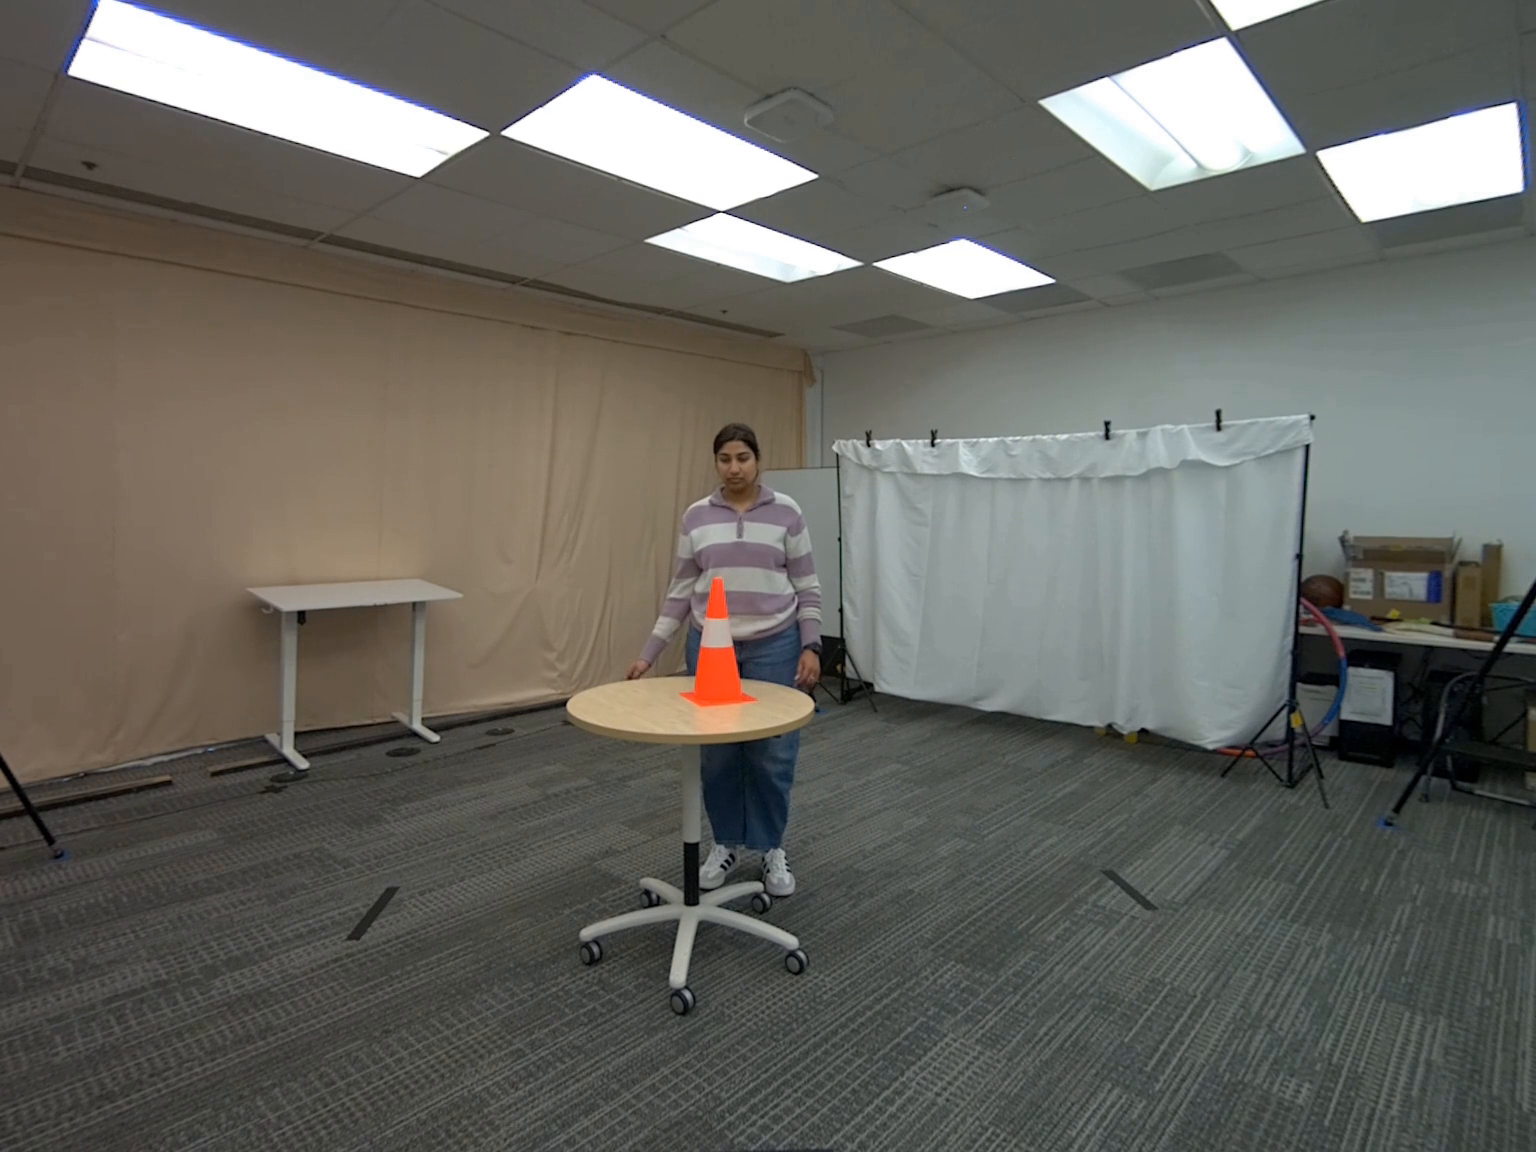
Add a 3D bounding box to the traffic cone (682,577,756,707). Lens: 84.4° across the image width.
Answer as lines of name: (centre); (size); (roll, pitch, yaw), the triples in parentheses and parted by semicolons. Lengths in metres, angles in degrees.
traffic cone: (-0.163, 0.198, 2.680); (0.197, 0.383, 0.211); (-2, 2, -35)
